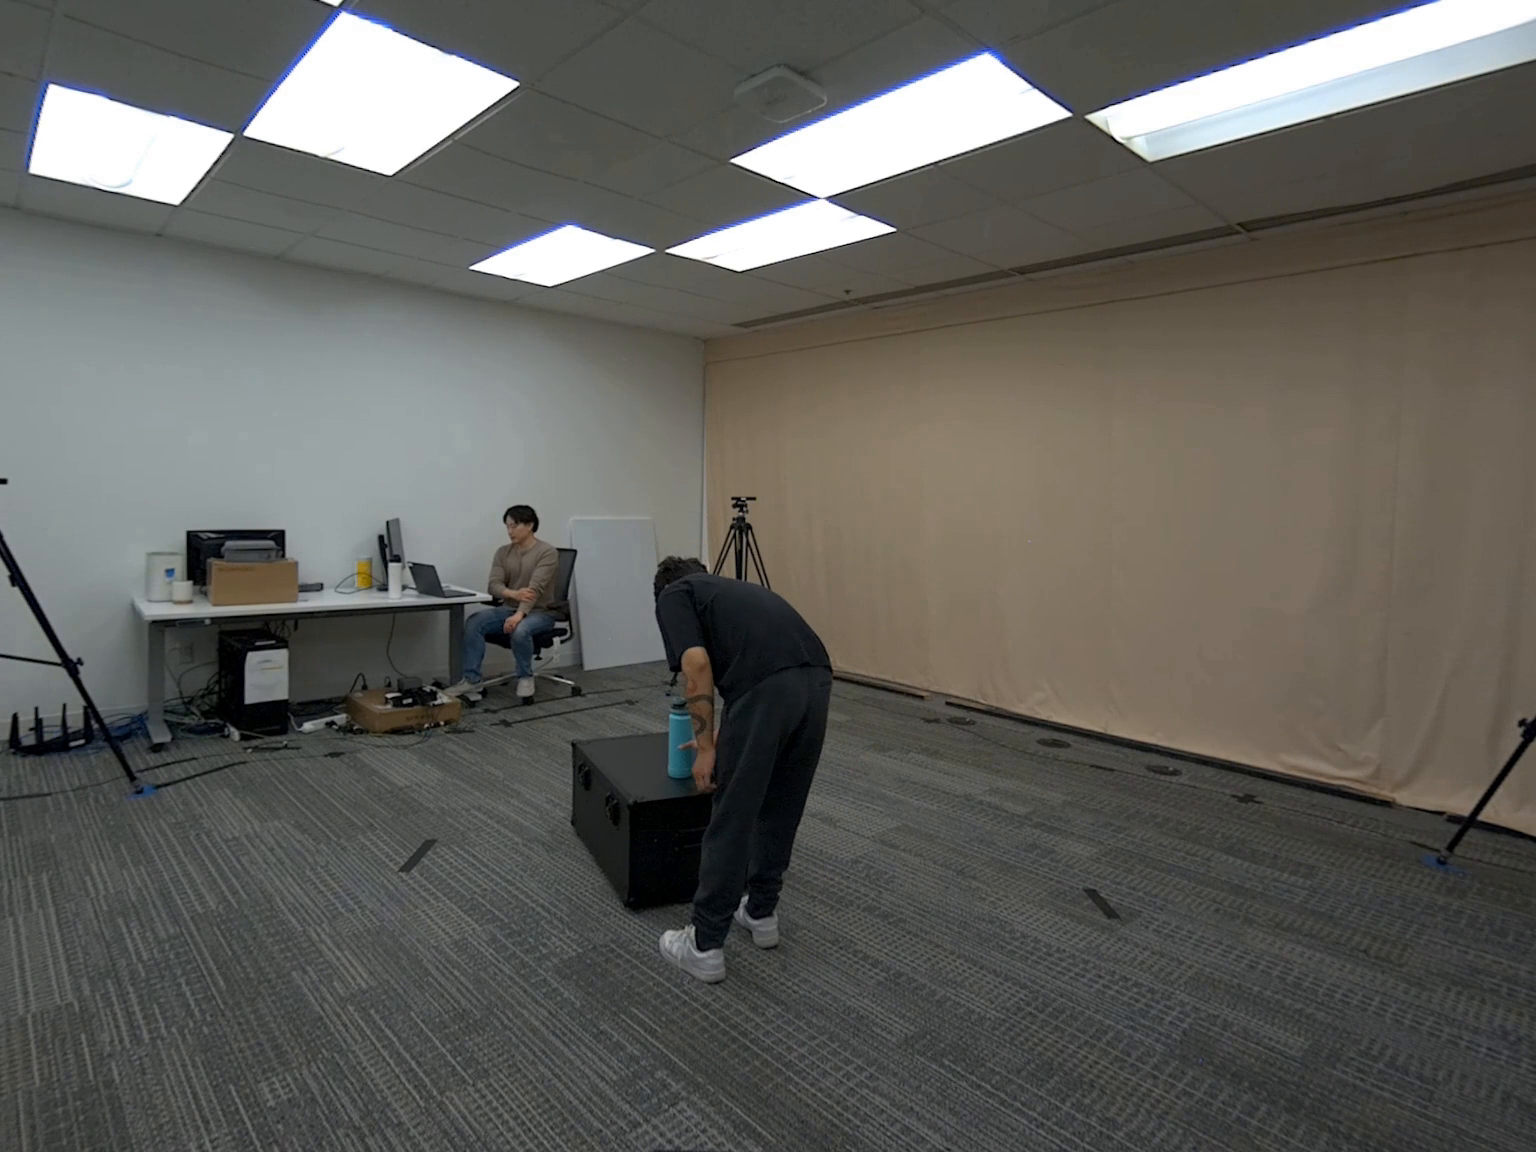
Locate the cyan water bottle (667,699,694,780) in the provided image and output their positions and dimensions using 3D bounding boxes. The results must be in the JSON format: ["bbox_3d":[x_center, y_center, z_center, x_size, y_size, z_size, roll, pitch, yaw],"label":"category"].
[{"bbox_3d":[-0.327,0.588,3.082,0.092,0.283,0.092,1,2,-1],"label":"cyan water bottle"}]
